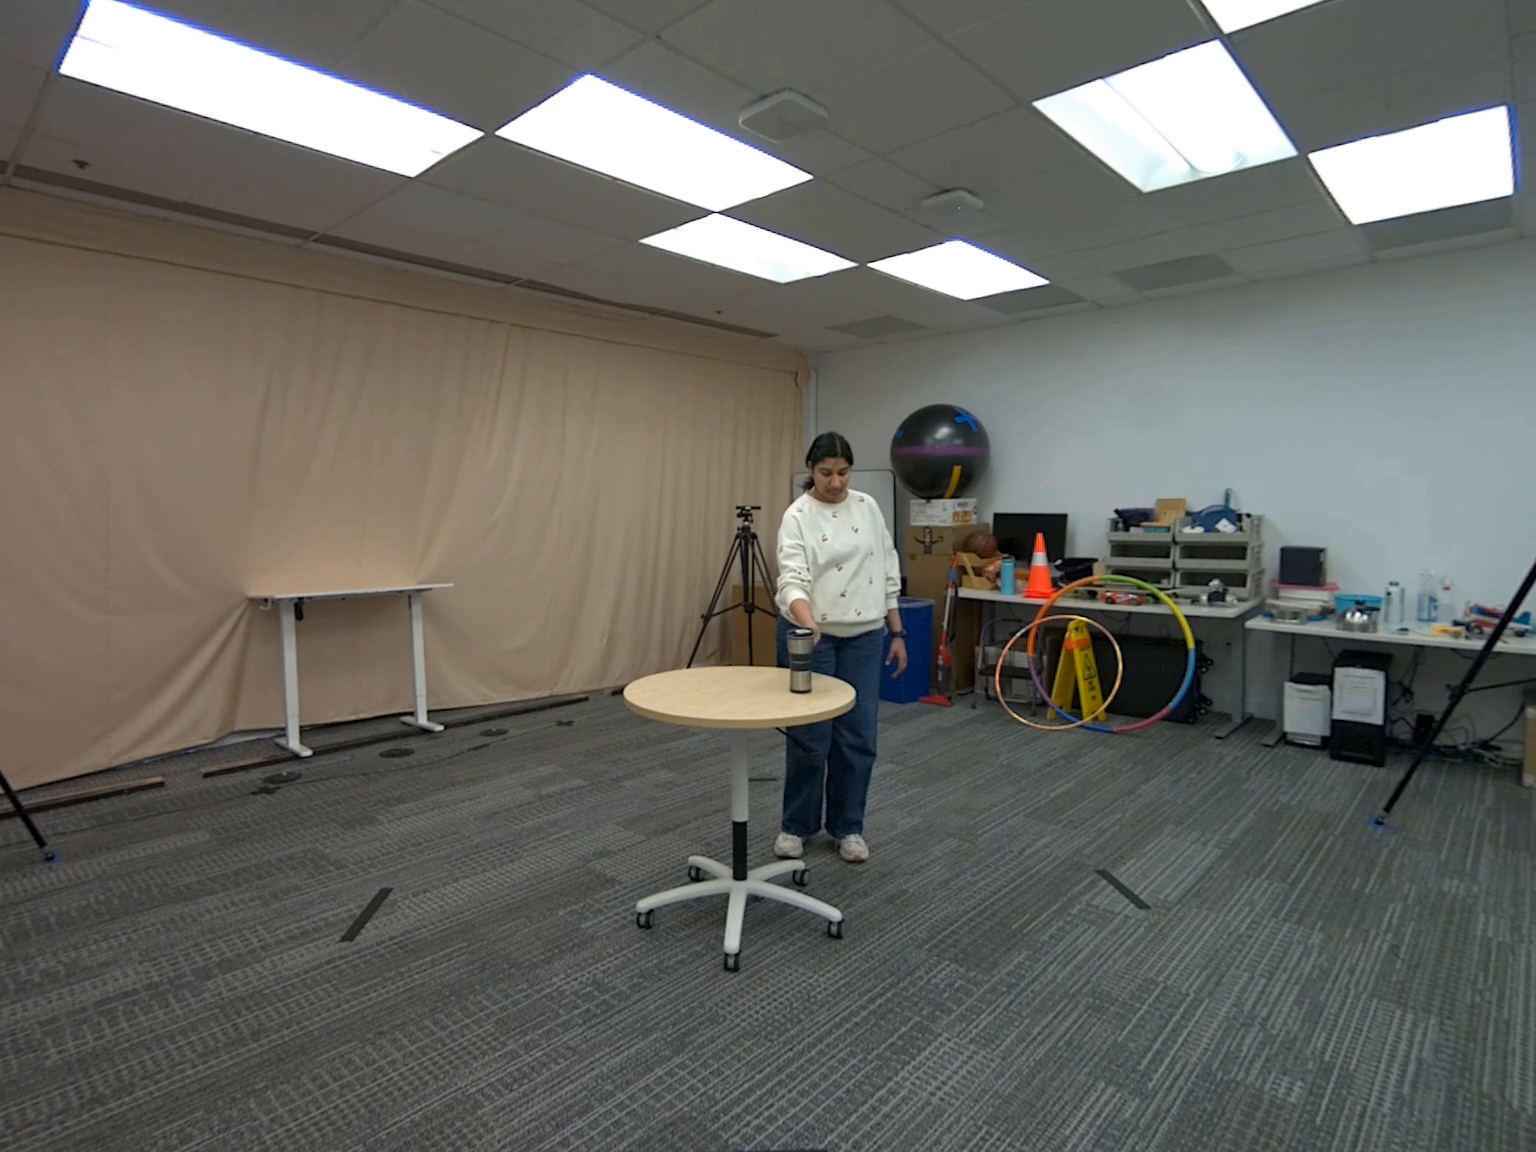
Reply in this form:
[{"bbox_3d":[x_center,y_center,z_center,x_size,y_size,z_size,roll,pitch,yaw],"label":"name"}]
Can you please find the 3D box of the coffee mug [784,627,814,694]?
[{"bbox_3d":[0.125,0.280,2.770,0.118,0.202,0.090,-7,3,-36],"label":"coffee mug"}]
